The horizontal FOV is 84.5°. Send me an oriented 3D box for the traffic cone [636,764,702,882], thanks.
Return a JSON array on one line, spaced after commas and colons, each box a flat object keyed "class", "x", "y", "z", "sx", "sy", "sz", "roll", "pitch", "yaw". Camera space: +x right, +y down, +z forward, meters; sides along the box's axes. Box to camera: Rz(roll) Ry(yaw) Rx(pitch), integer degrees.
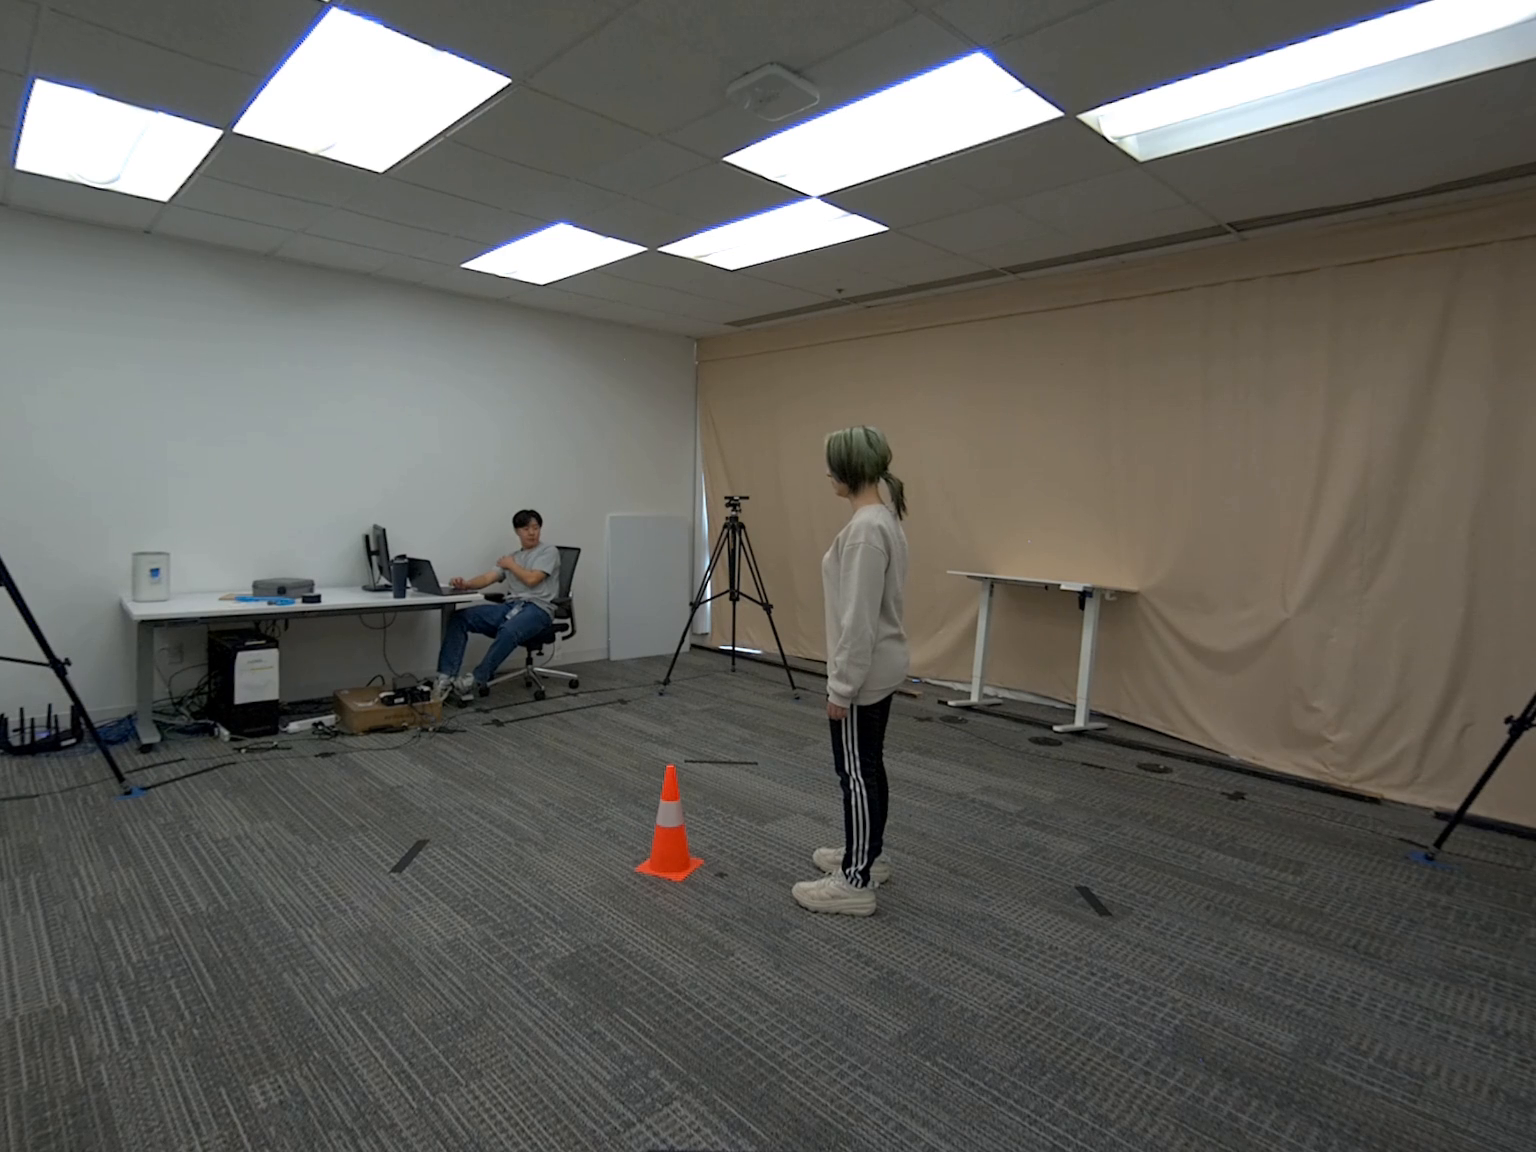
[{"class": "traffic cone", "x": -0.369, "y": 0.902, "z": 3.170, "sx": 0.207, "sy": 0.383, "sz": 0.201, "roll": 3, "pitch": 3, "yaw": 25}]
